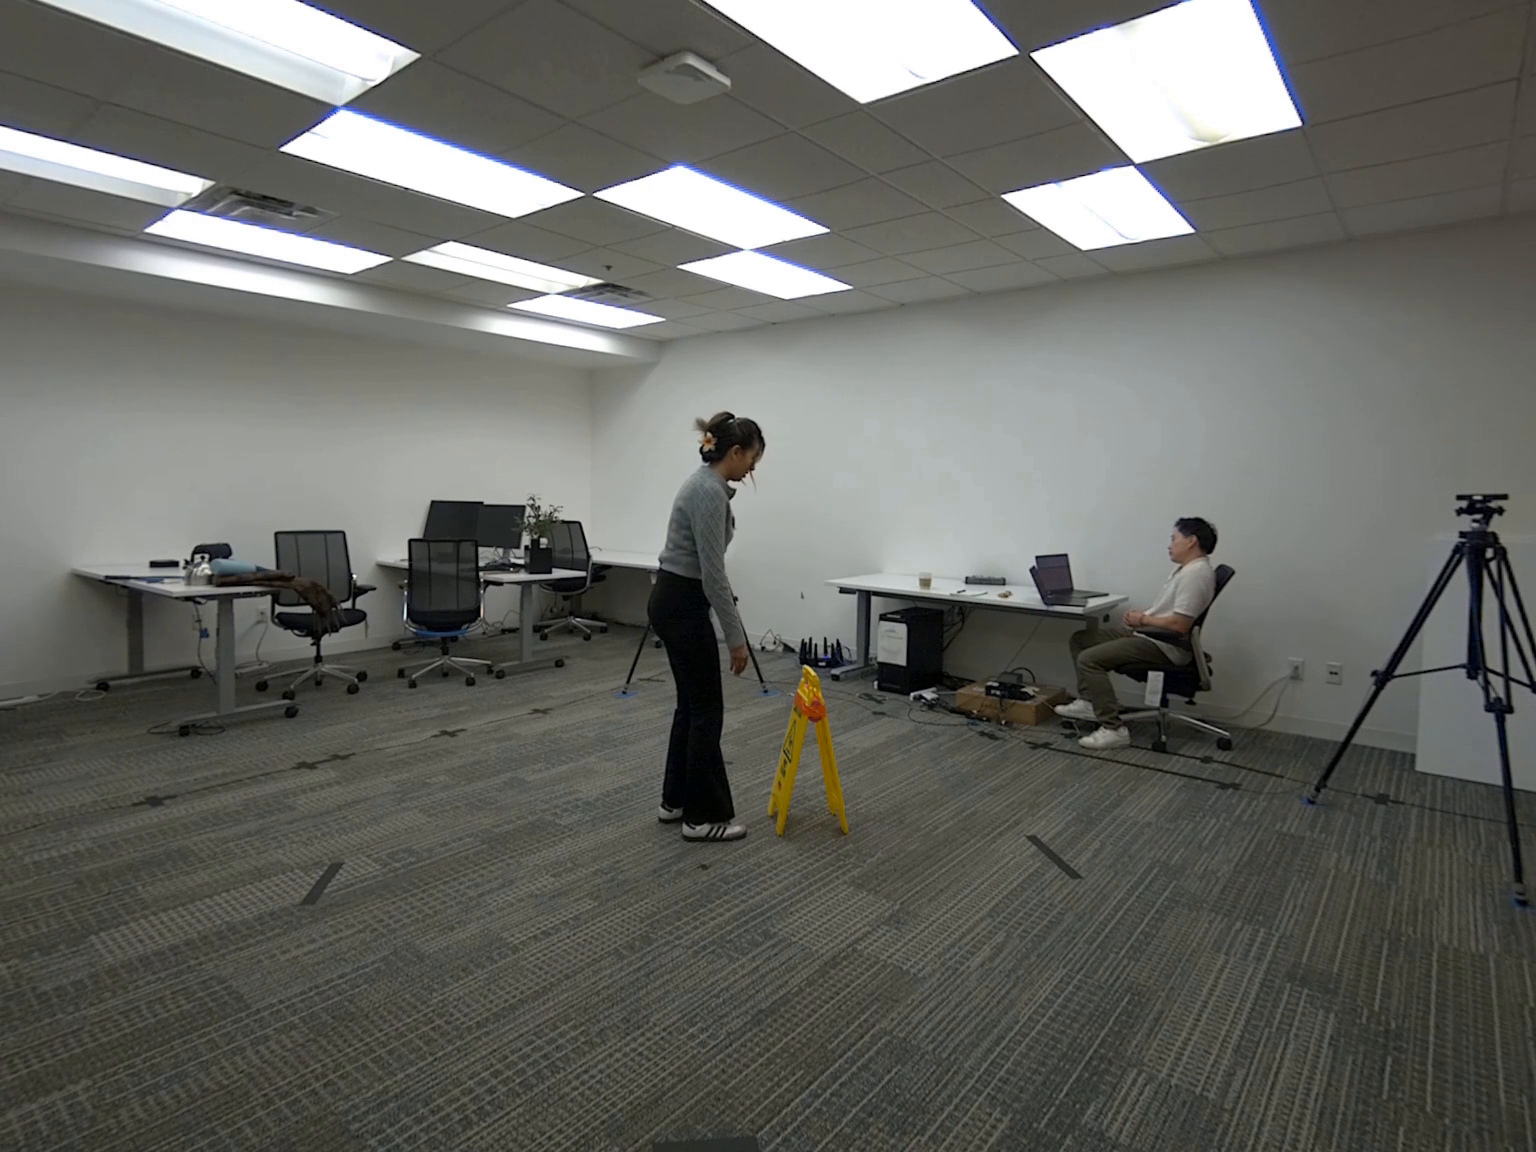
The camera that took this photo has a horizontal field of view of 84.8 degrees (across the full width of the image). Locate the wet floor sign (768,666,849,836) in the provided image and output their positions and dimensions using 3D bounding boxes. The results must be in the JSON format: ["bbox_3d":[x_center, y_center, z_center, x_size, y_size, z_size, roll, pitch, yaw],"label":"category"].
[{"bbox_3d":[0.163,0.705,3.529,0.287,0.643,0.286,2,5,-8],"label":"wet floor sign"}]
